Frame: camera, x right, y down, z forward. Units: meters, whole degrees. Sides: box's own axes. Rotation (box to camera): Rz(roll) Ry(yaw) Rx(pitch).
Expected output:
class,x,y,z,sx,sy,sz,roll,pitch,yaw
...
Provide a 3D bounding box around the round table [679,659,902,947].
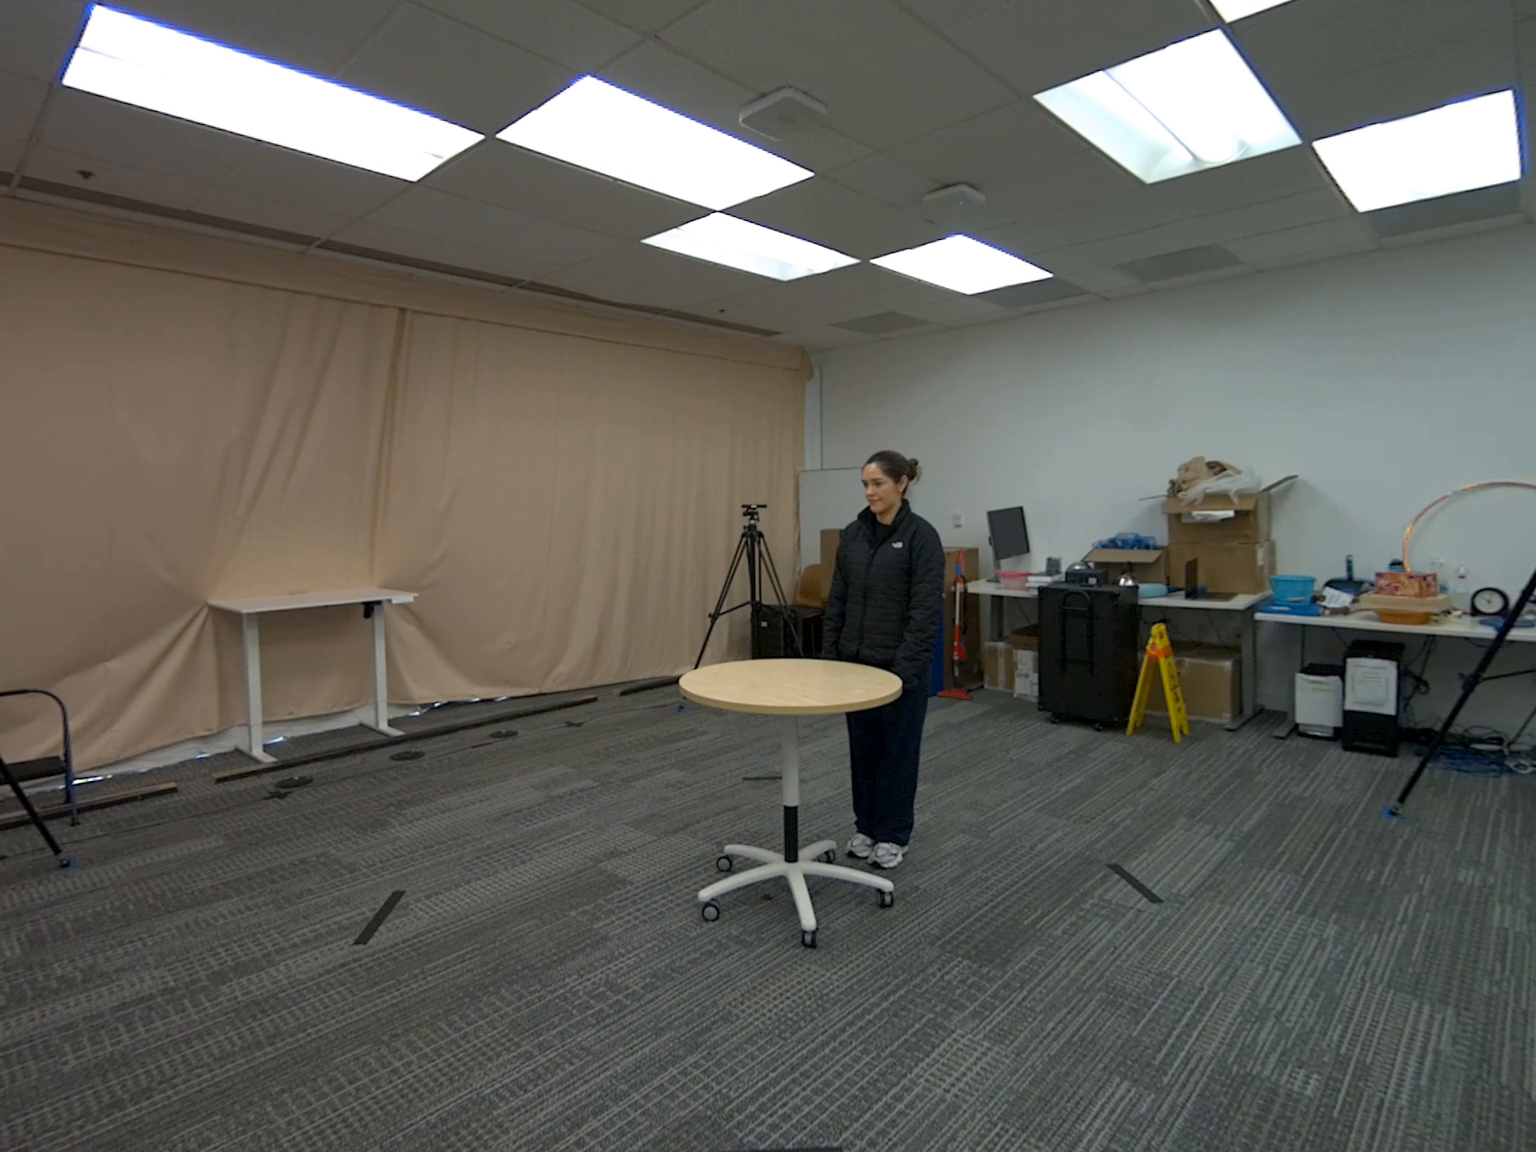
class,x,y,z,sx,sy,sz,roll,pitch,yaw
round table,0.103,0.750,2.941,0.784,0.784,0.788,-1,4,-2
